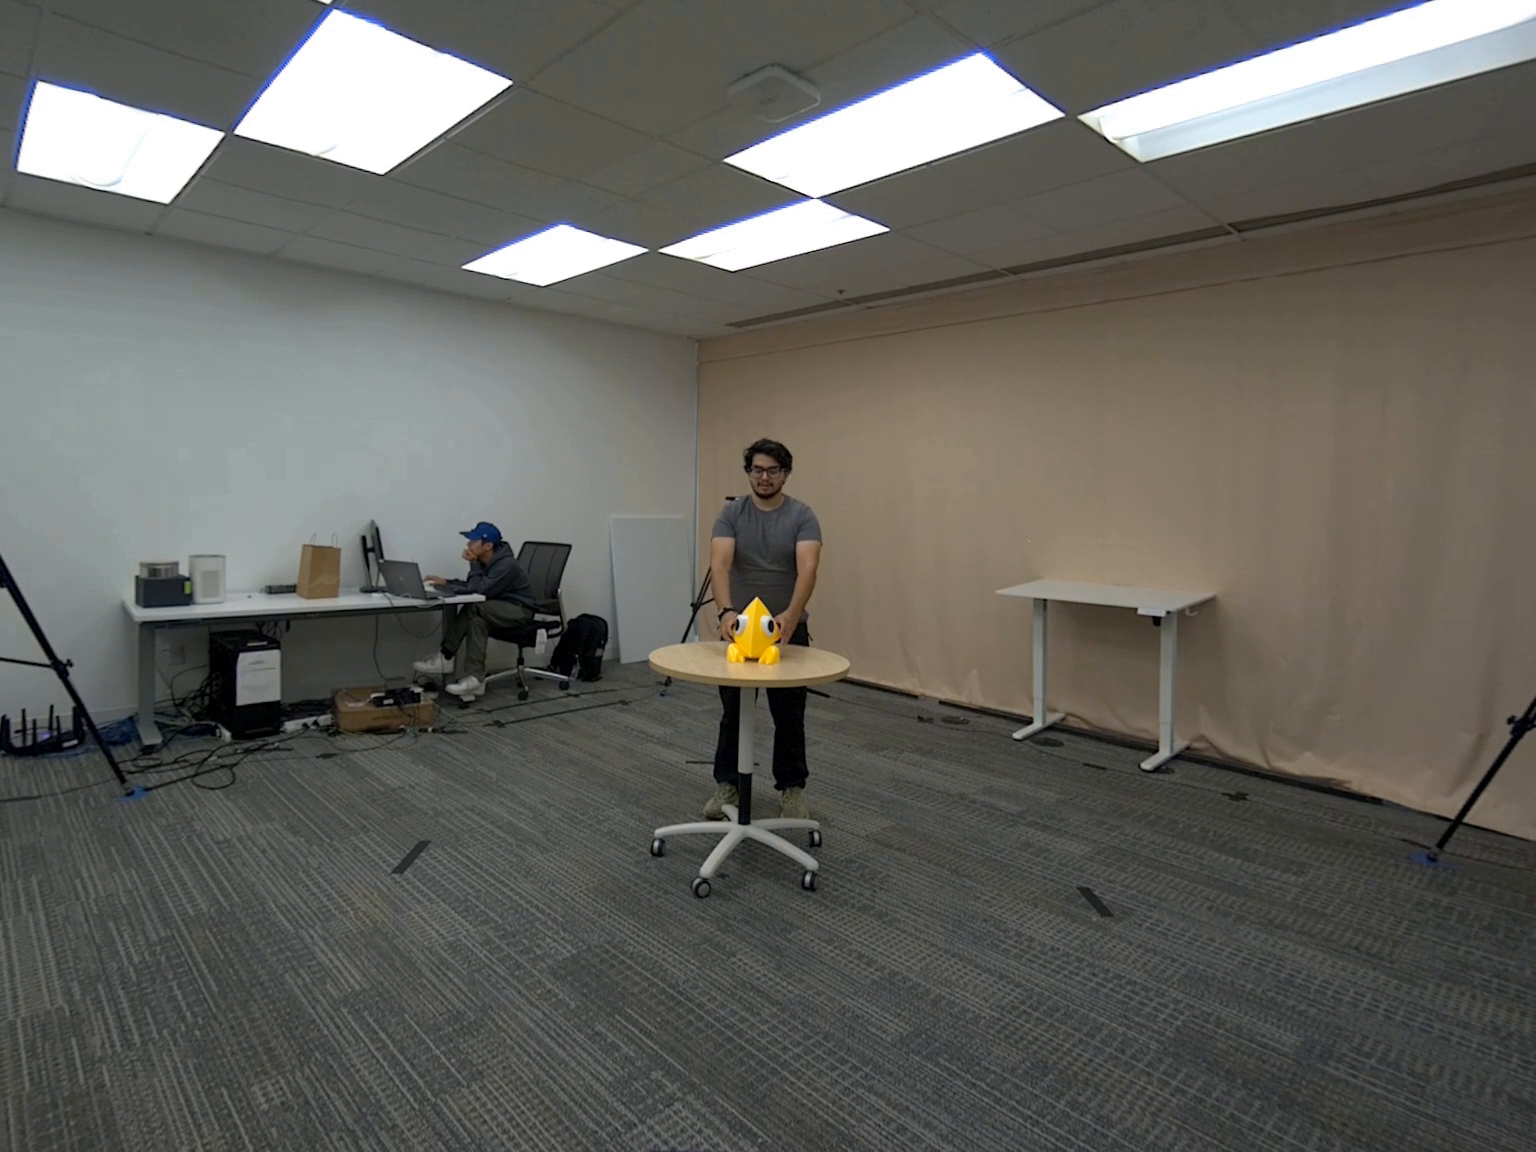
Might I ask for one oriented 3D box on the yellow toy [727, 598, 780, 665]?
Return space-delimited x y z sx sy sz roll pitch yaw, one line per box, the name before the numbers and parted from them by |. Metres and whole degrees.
yellow toy | -0.063 0.202 3.197 0.206 0.230 0.192 2 5 6
